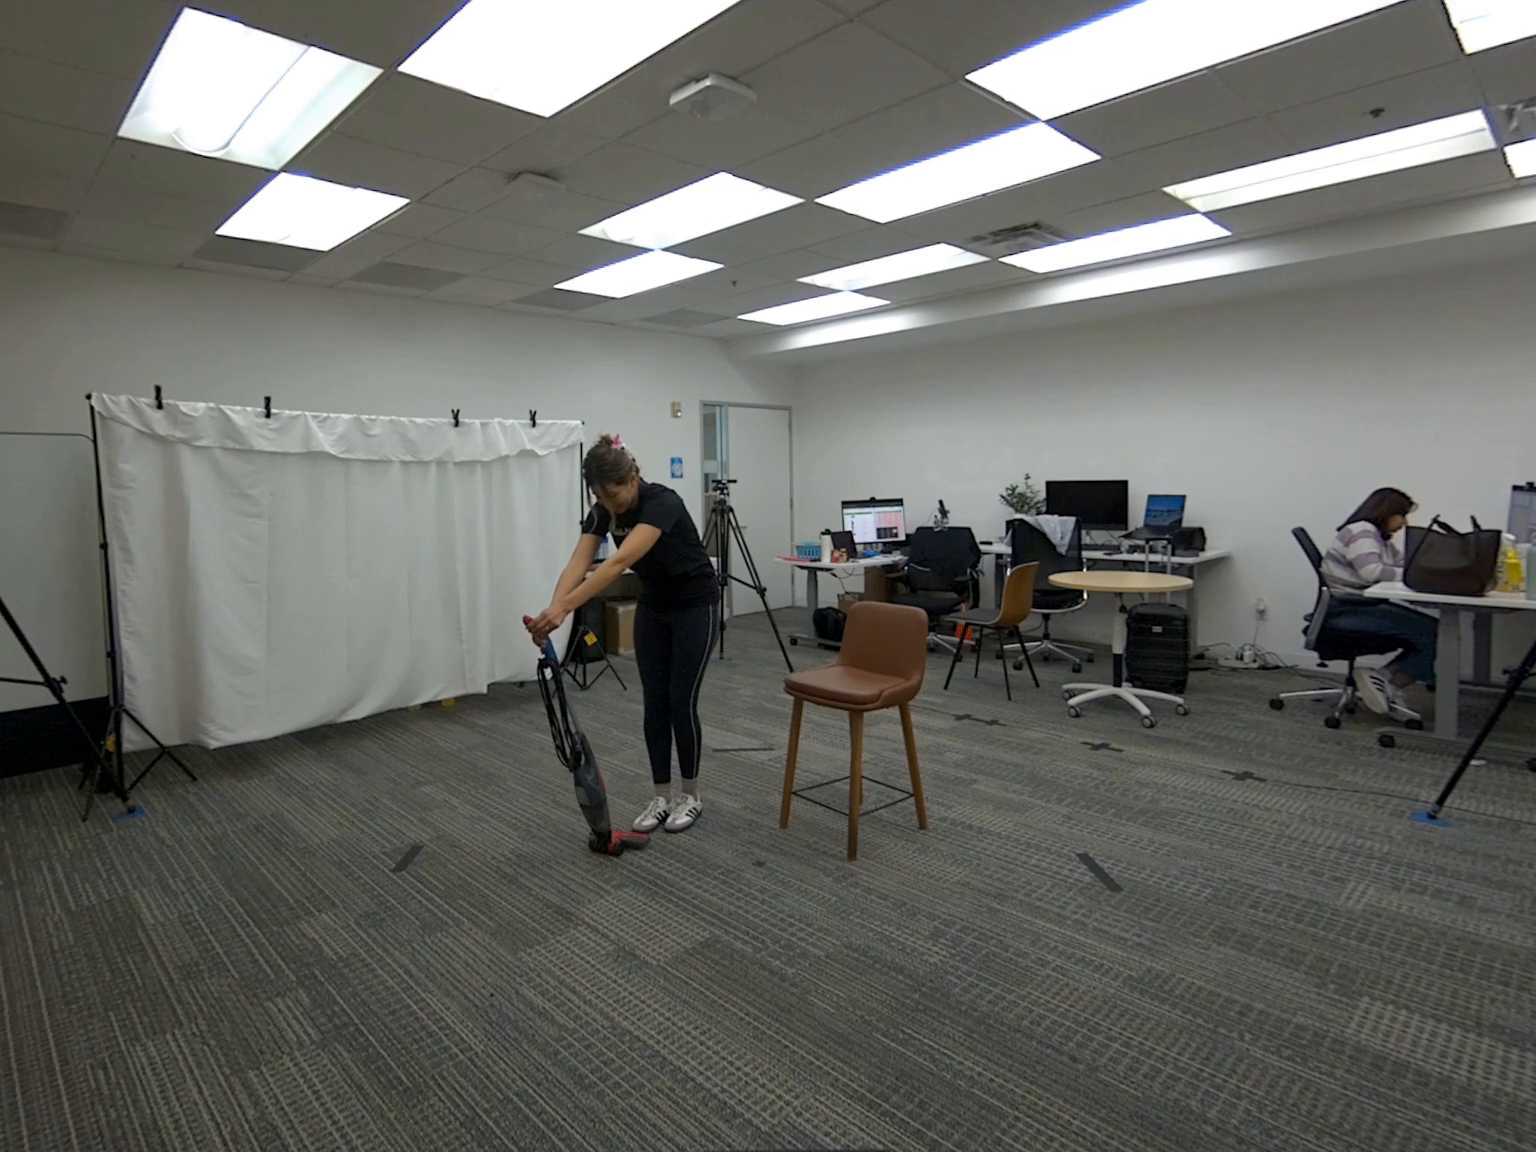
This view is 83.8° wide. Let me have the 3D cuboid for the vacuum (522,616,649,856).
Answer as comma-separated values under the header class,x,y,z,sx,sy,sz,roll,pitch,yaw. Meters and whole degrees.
class,x,y,z,sx,sy,sz,roll,pitch,yaw
vacuum,-0.695,0.589,3.040,0.259,1.021,0.144,5,33,31
